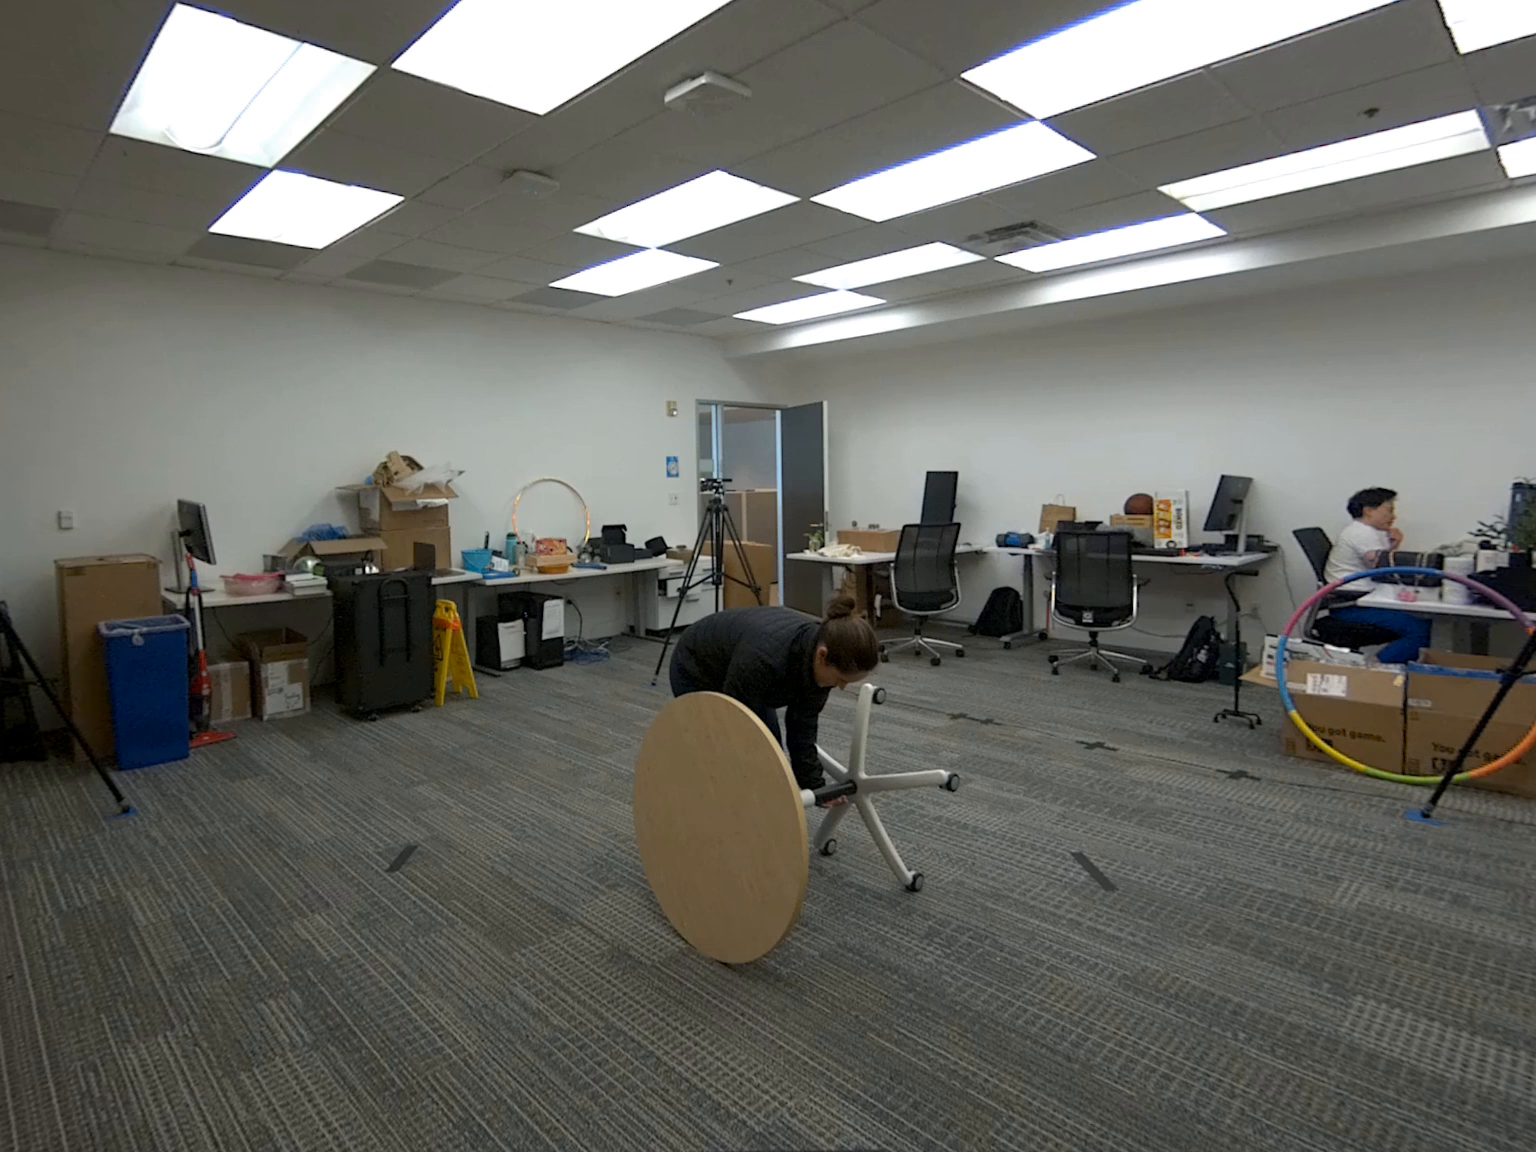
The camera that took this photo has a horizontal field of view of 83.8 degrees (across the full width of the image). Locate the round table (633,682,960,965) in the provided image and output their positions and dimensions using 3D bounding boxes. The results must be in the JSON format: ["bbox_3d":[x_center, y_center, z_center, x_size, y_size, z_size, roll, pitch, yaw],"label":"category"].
[{"bbox_3d":[0.097,0.739,2.810,0.763,0.785,0.809,3,1,-44],"label":"round table"}]
